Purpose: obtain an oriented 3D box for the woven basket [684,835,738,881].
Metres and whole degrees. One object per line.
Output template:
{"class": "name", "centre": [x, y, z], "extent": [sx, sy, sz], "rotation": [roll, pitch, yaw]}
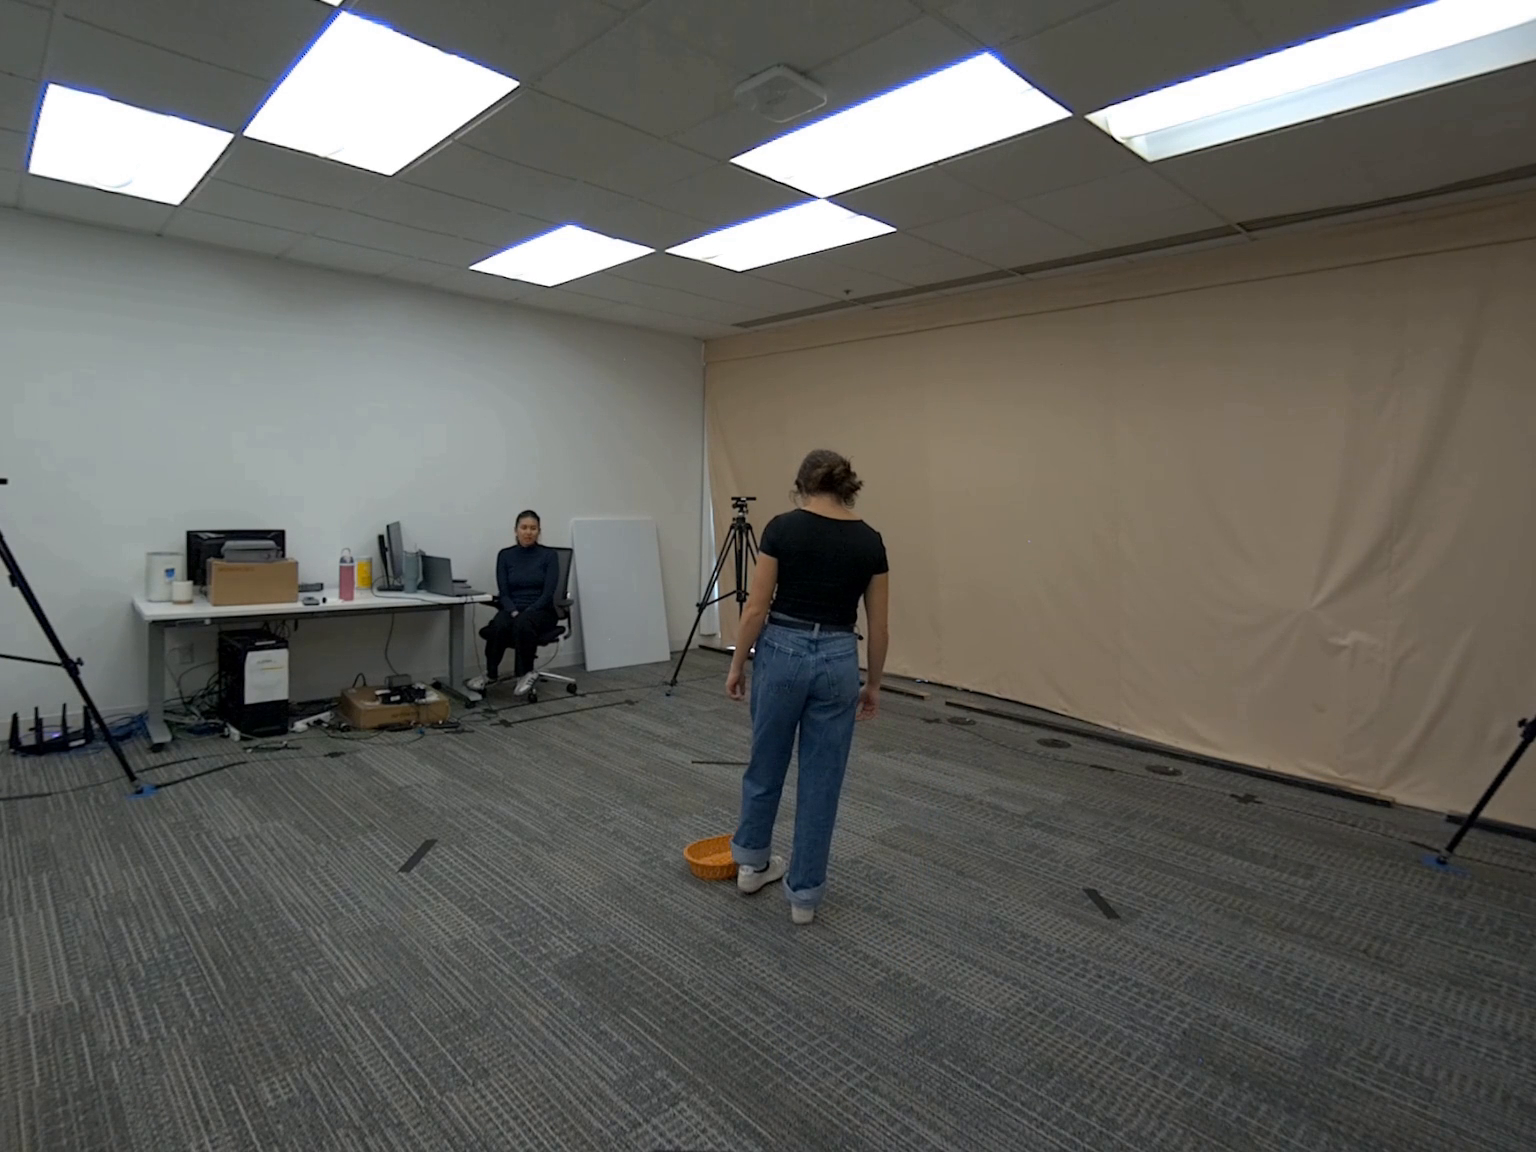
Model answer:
{"class": "woven basket", "centre": [-0.160, 1.061, 3.182], "extent": [0.343, 0.073, 0.258], "rotation": [-3, 5, -30]}
